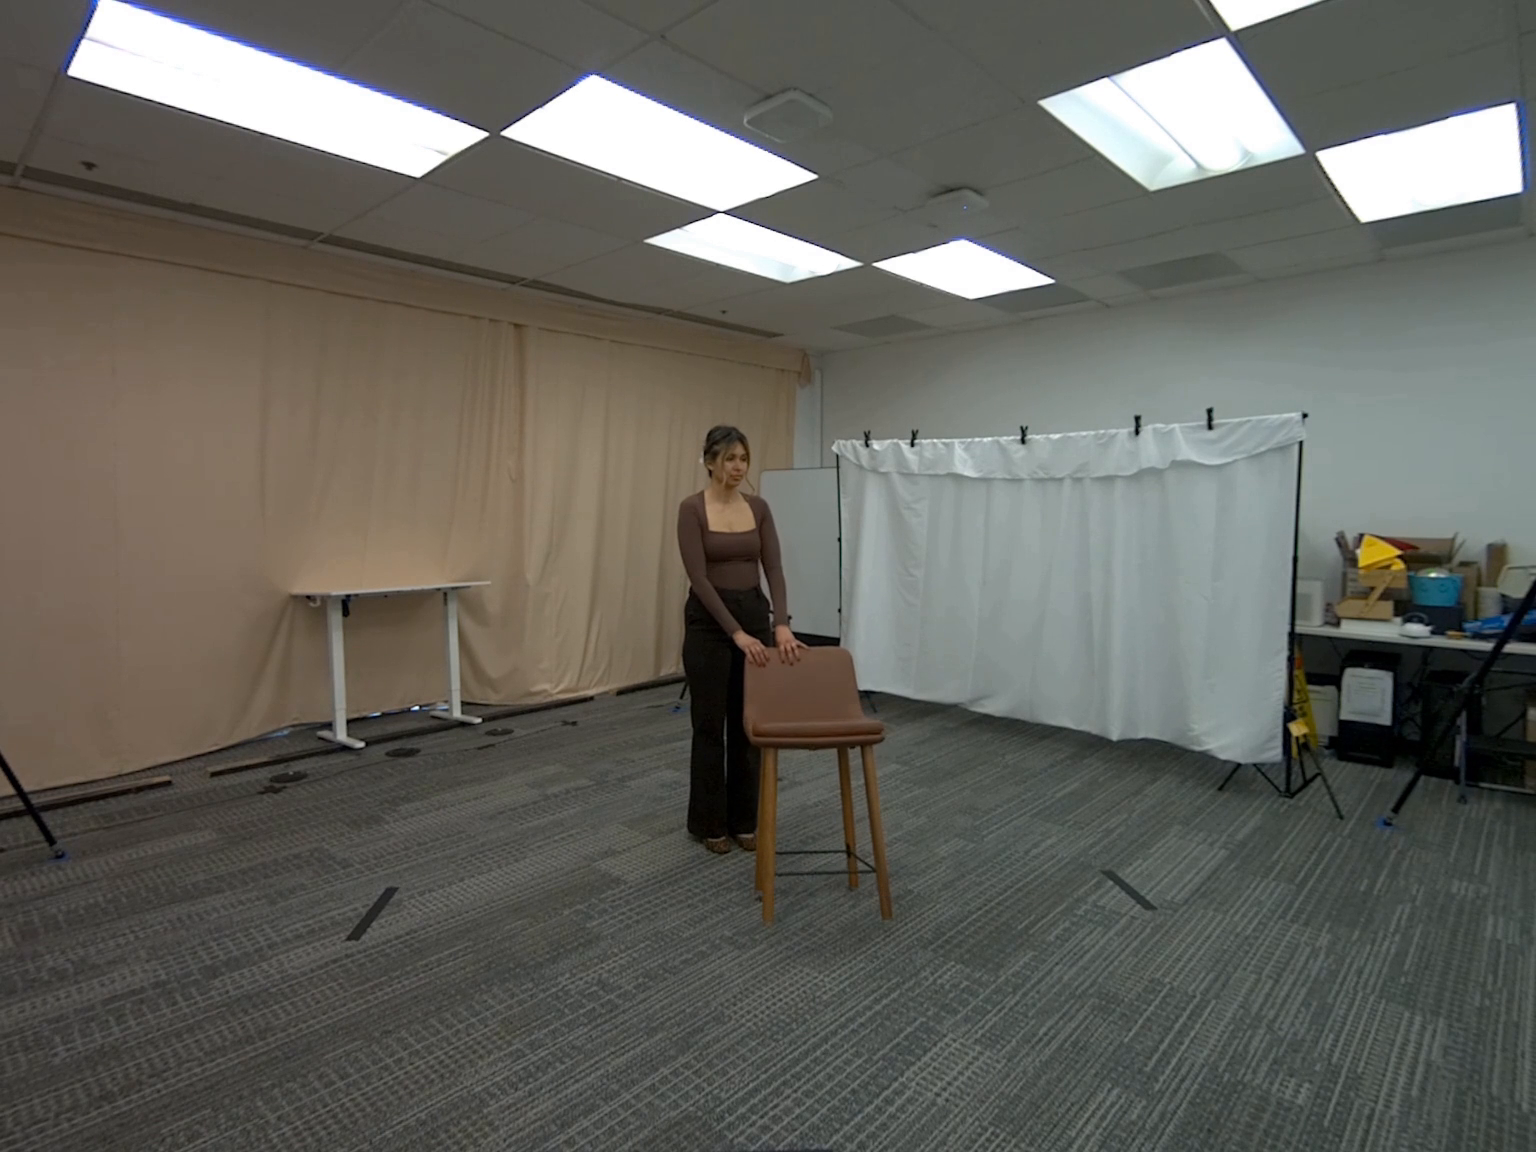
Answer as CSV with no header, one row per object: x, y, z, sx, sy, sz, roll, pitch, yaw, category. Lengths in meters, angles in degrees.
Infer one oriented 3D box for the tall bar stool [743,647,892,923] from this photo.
0.159,0.678,2.924,0.455,0.896,0.465,0,-11,-3,tall bar stool
